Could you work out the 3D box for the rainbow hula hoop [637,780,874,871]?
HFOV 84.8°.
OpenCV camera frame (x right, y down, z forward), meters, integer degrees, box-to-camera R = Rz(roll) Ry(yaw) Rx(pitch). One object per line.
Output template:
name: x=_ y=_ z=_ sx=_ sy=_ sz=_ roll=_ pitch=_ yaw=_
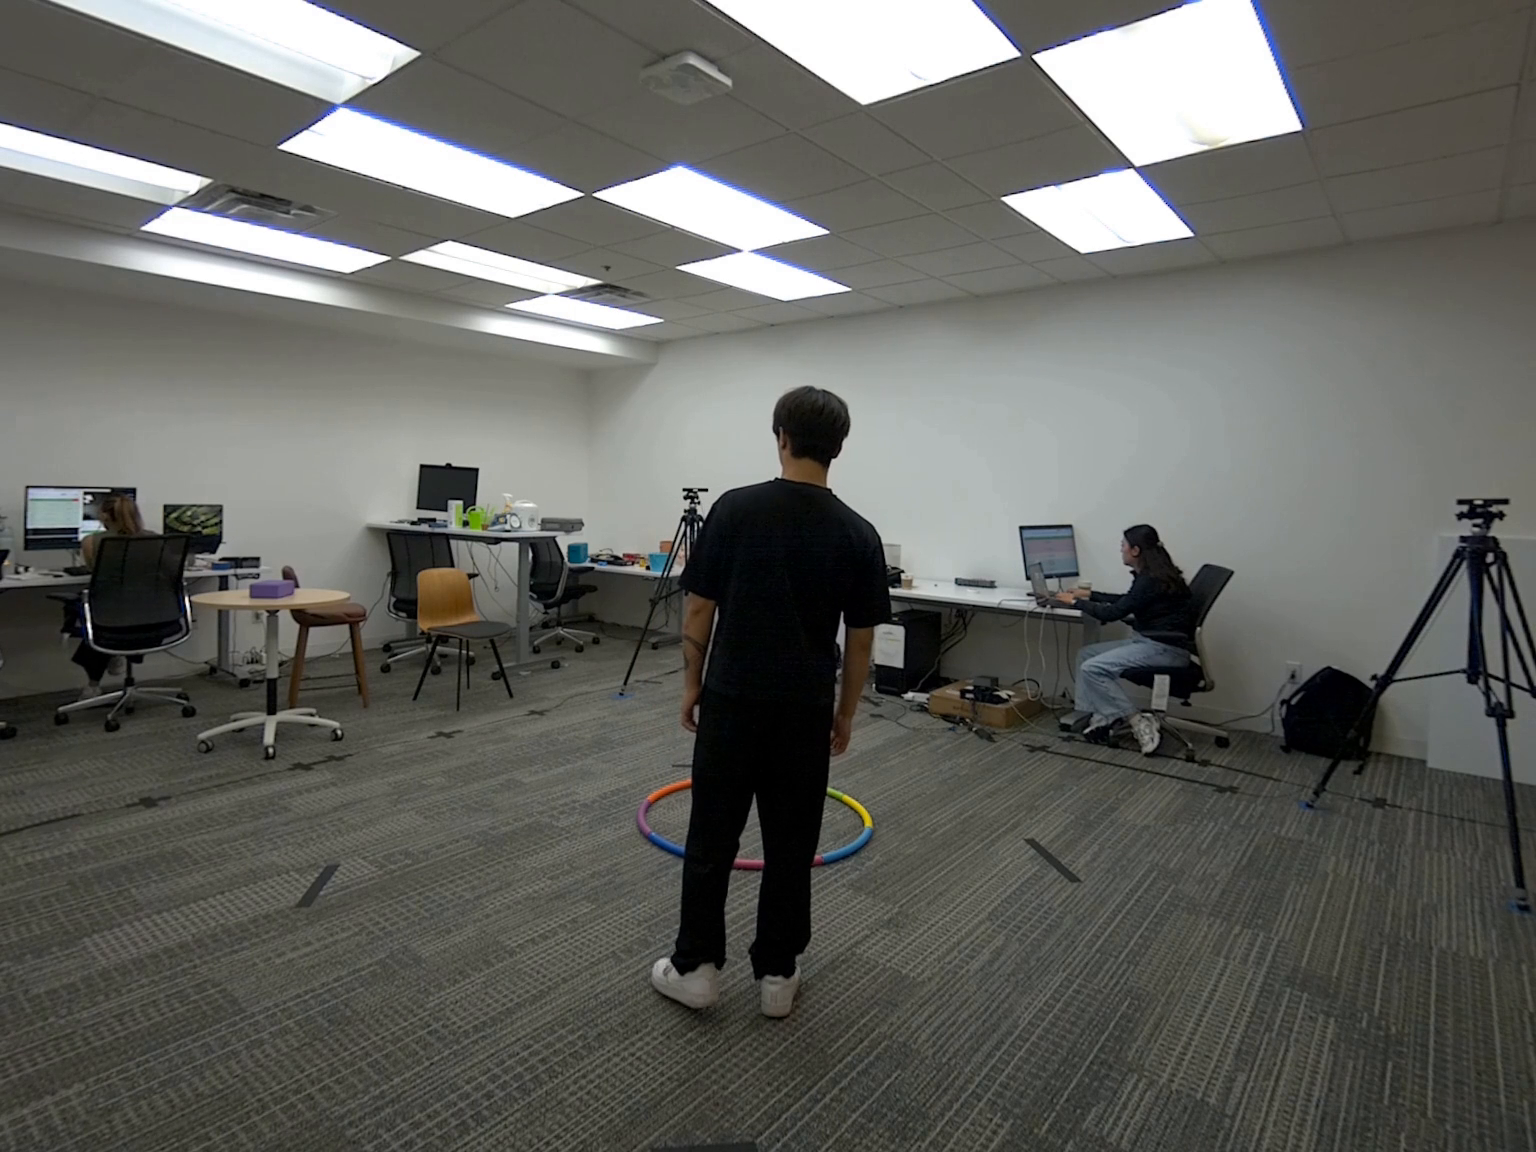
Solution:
rainbow hula hoop: x=-0.069 y=0.996 z=3.583 sx=0.978 sy=0.035 sz=0.984 roll=1 pitch=6 yaw=-2
